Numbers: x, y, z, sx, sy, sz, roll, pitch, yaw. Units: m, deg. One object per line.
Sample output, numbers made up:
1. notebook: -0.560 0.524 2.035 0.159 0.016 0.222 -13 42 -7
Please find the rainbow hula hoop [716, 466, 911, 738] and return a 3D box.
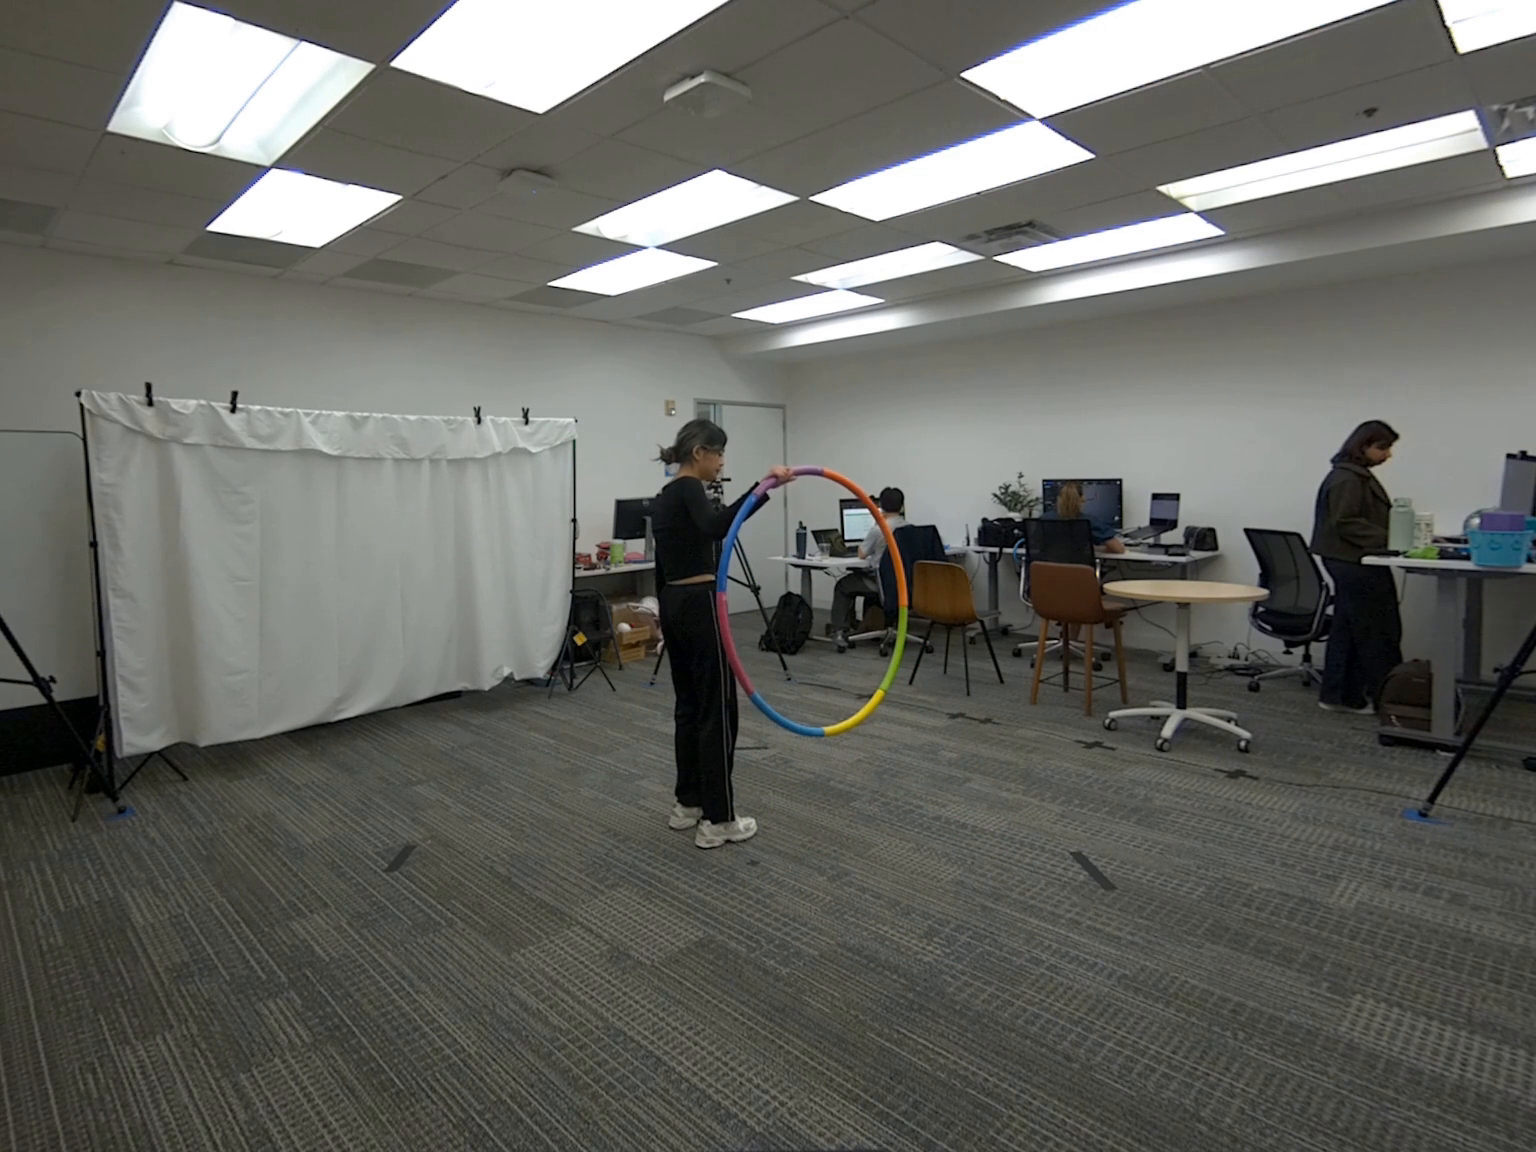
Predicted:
1. rainbow hula hoop: 0.182 0.084 3.163 0.953 0.982 0.036 -5 -4 -41
